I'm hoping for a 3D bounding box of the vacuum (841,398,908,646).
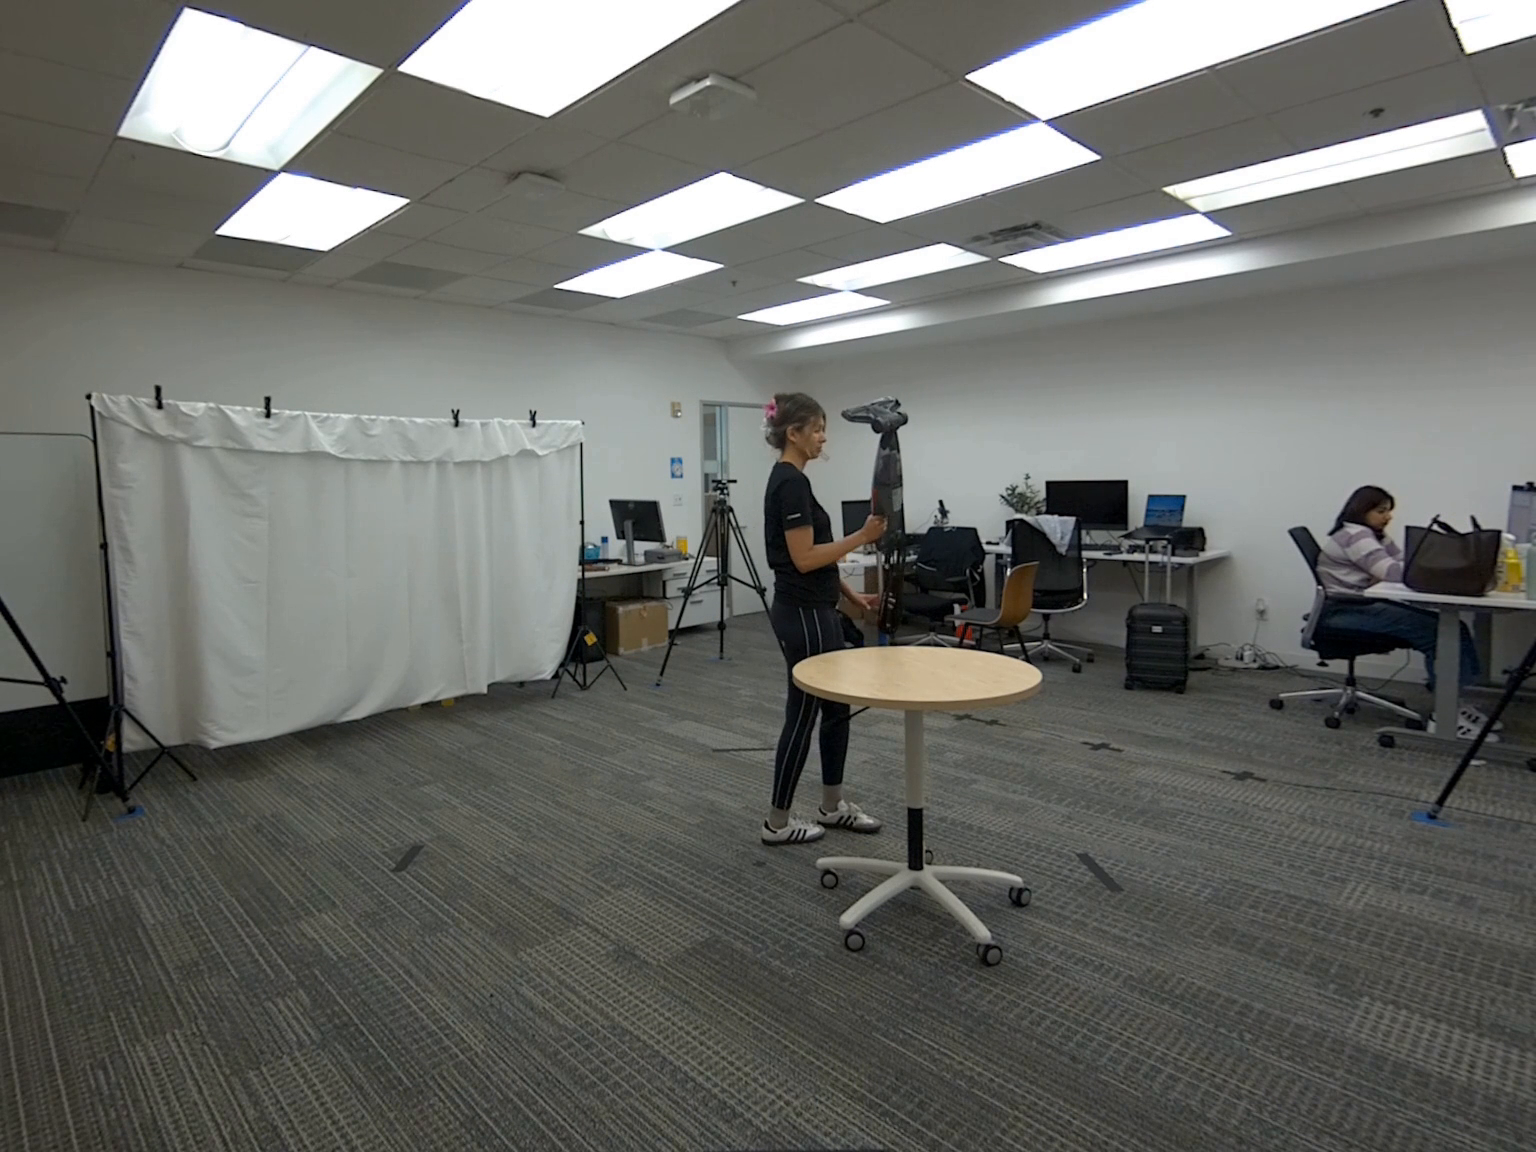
[{"bbox_3d":[0.445,-0.094,3.145,0.249,1.028,0.149,-21,25,-31],"label":"vacuum"}]
